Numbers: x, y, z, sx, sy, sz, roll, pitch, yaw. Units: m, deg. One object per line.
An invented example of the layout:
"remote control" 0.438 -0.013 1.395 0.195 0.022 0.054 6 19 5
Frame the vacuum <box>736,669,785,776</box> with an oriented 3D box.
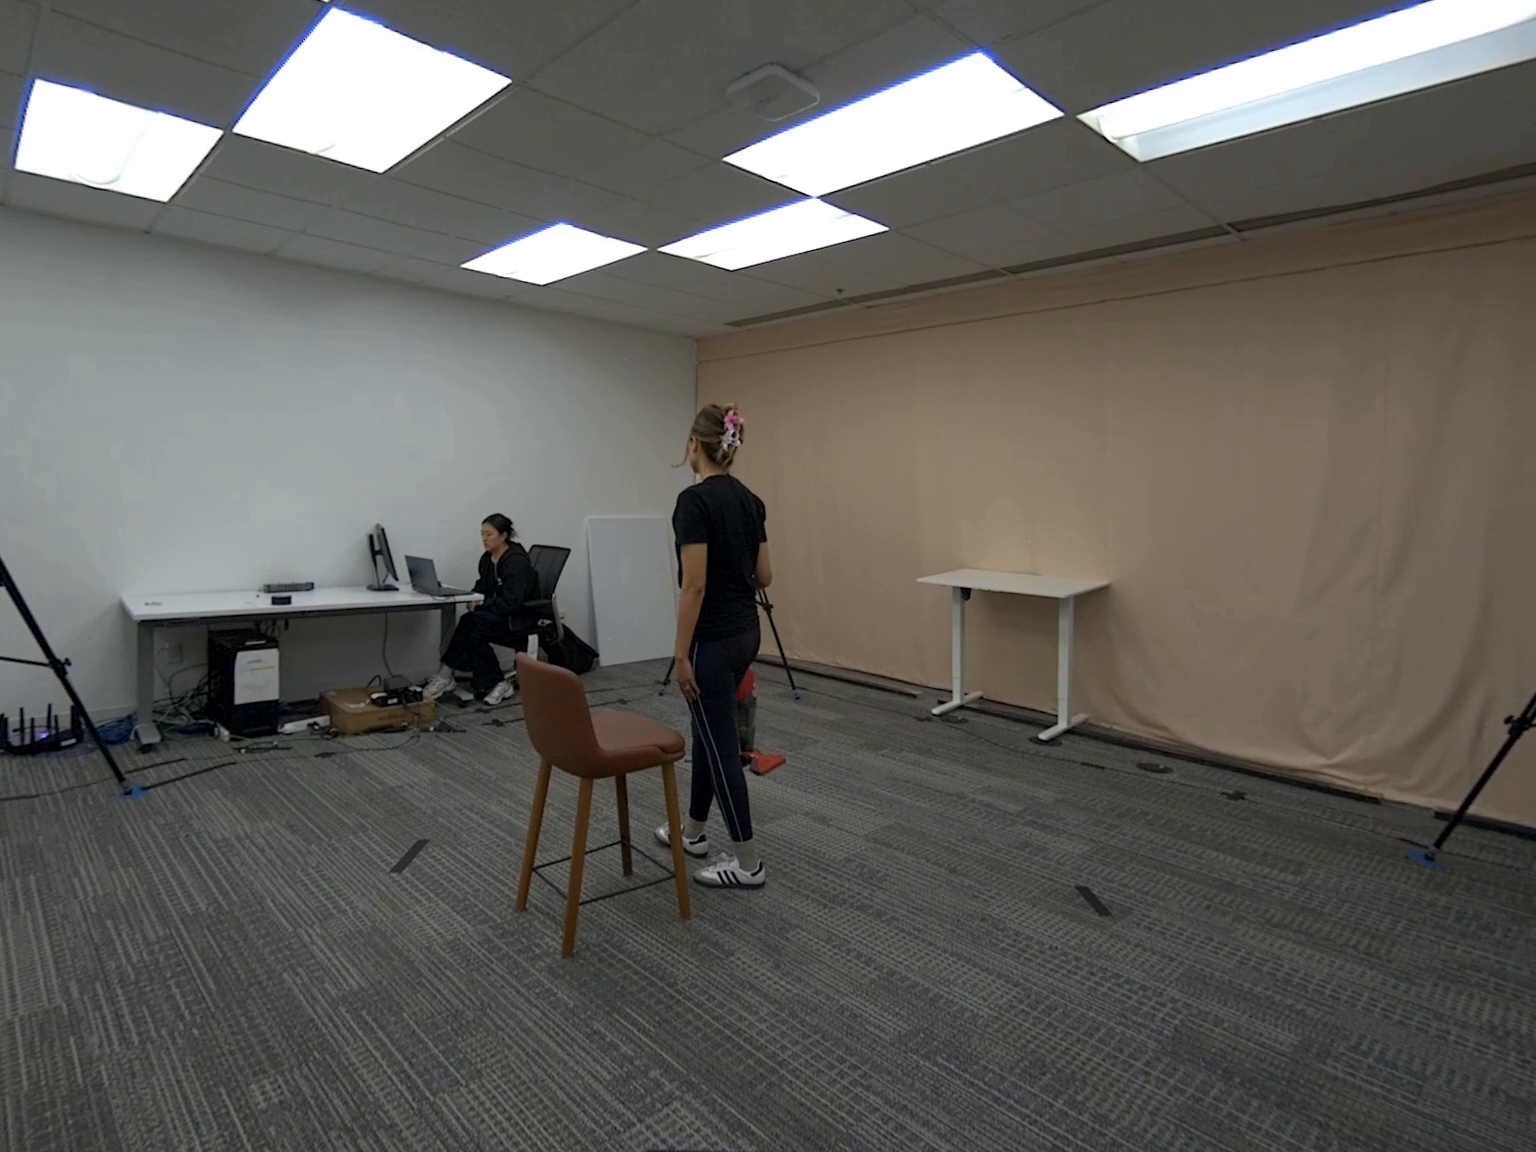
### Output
"vacuum" -0.150 0.257 3.457 0.146 1.057 0.247 -17 -9 32
